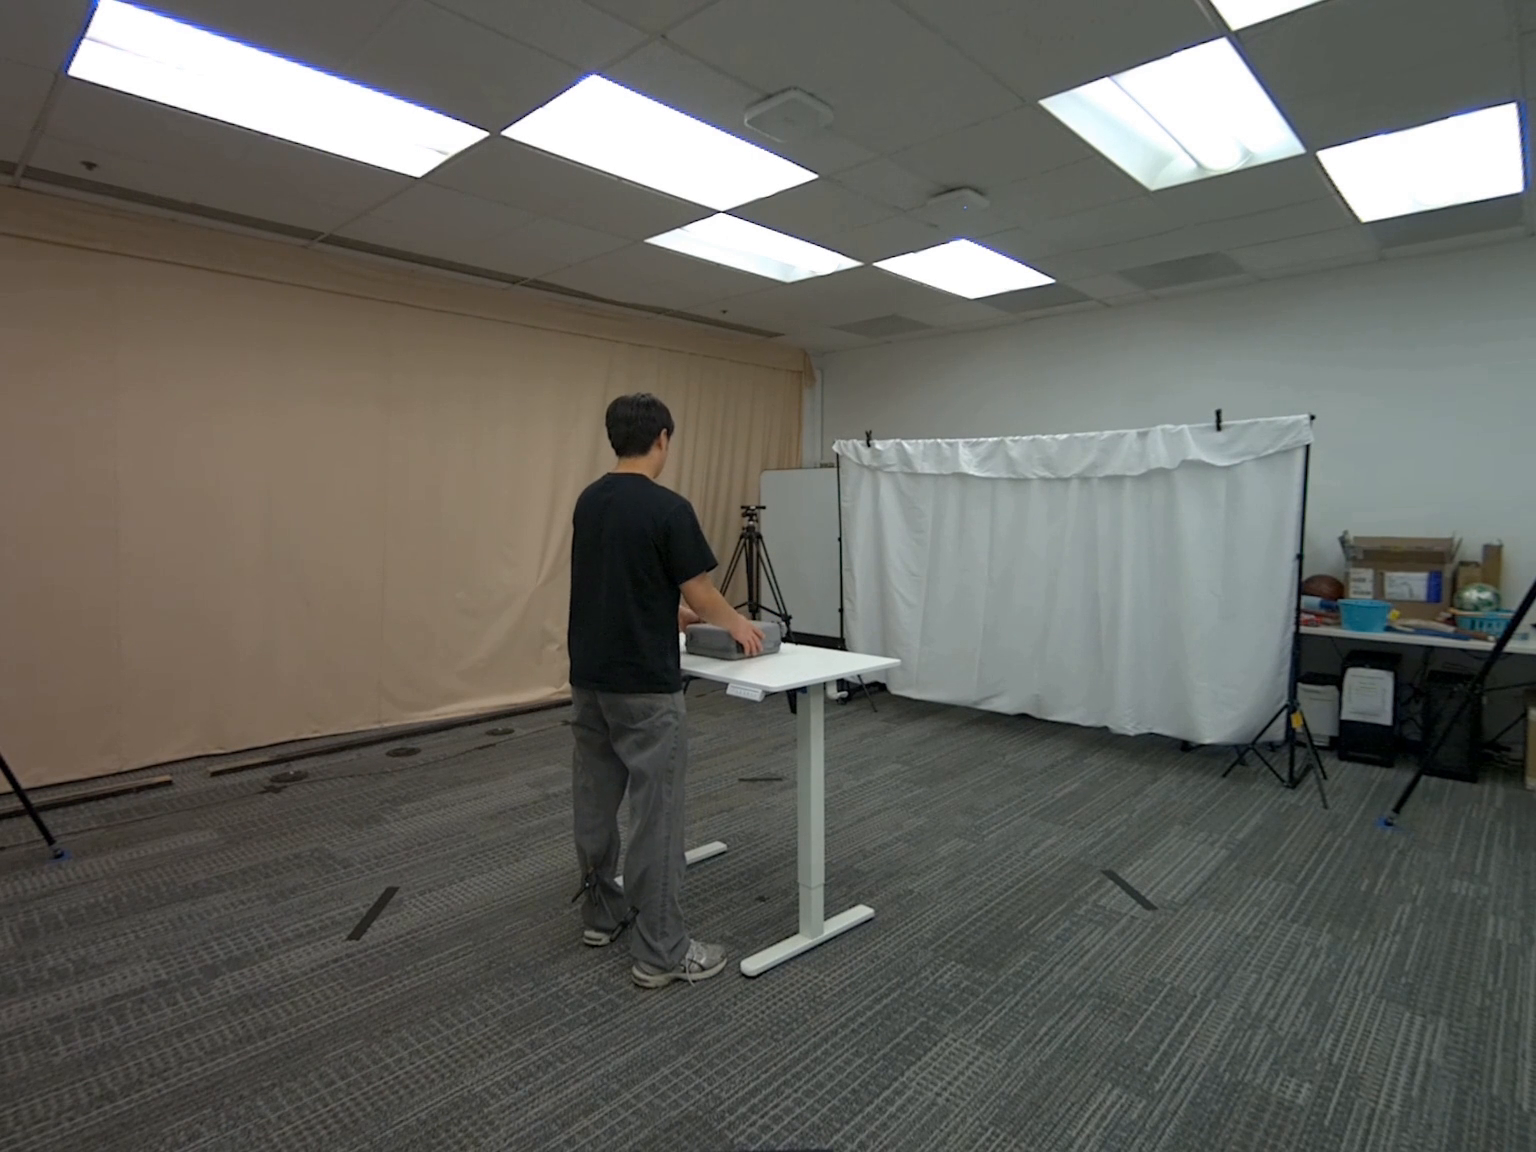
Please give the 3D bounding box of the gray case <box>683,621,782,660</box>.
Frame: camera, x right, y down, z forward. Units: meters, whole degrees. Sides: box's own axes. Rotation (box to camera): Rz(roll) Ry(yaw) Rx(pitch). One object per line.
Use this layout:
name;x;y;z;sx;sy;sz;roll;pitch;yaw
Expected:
gray case;-0.118;0.216;2.931;0.297;0.103;0.255;3;6;43
